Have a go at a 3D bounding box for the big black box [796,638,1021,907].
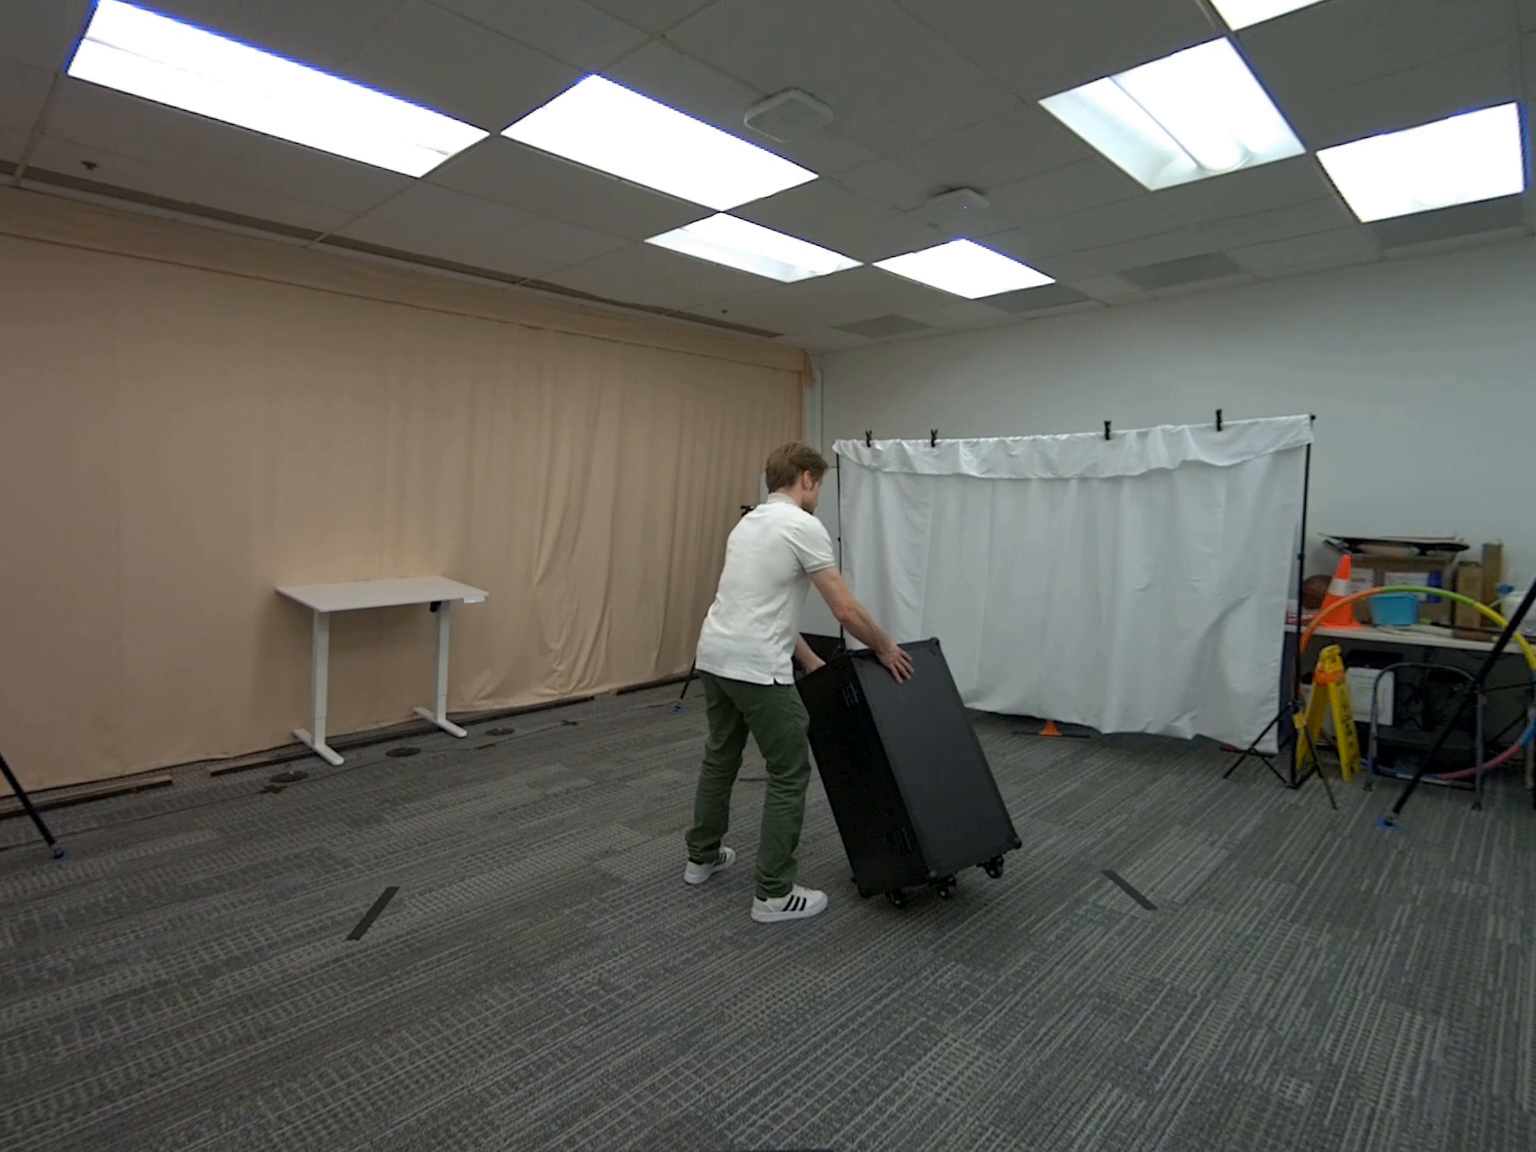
[{"bbox_3d":[0.494,0.711,3.046,0.507,0.884,0.390,-2,-25,-39],"label":"big black box"}]
